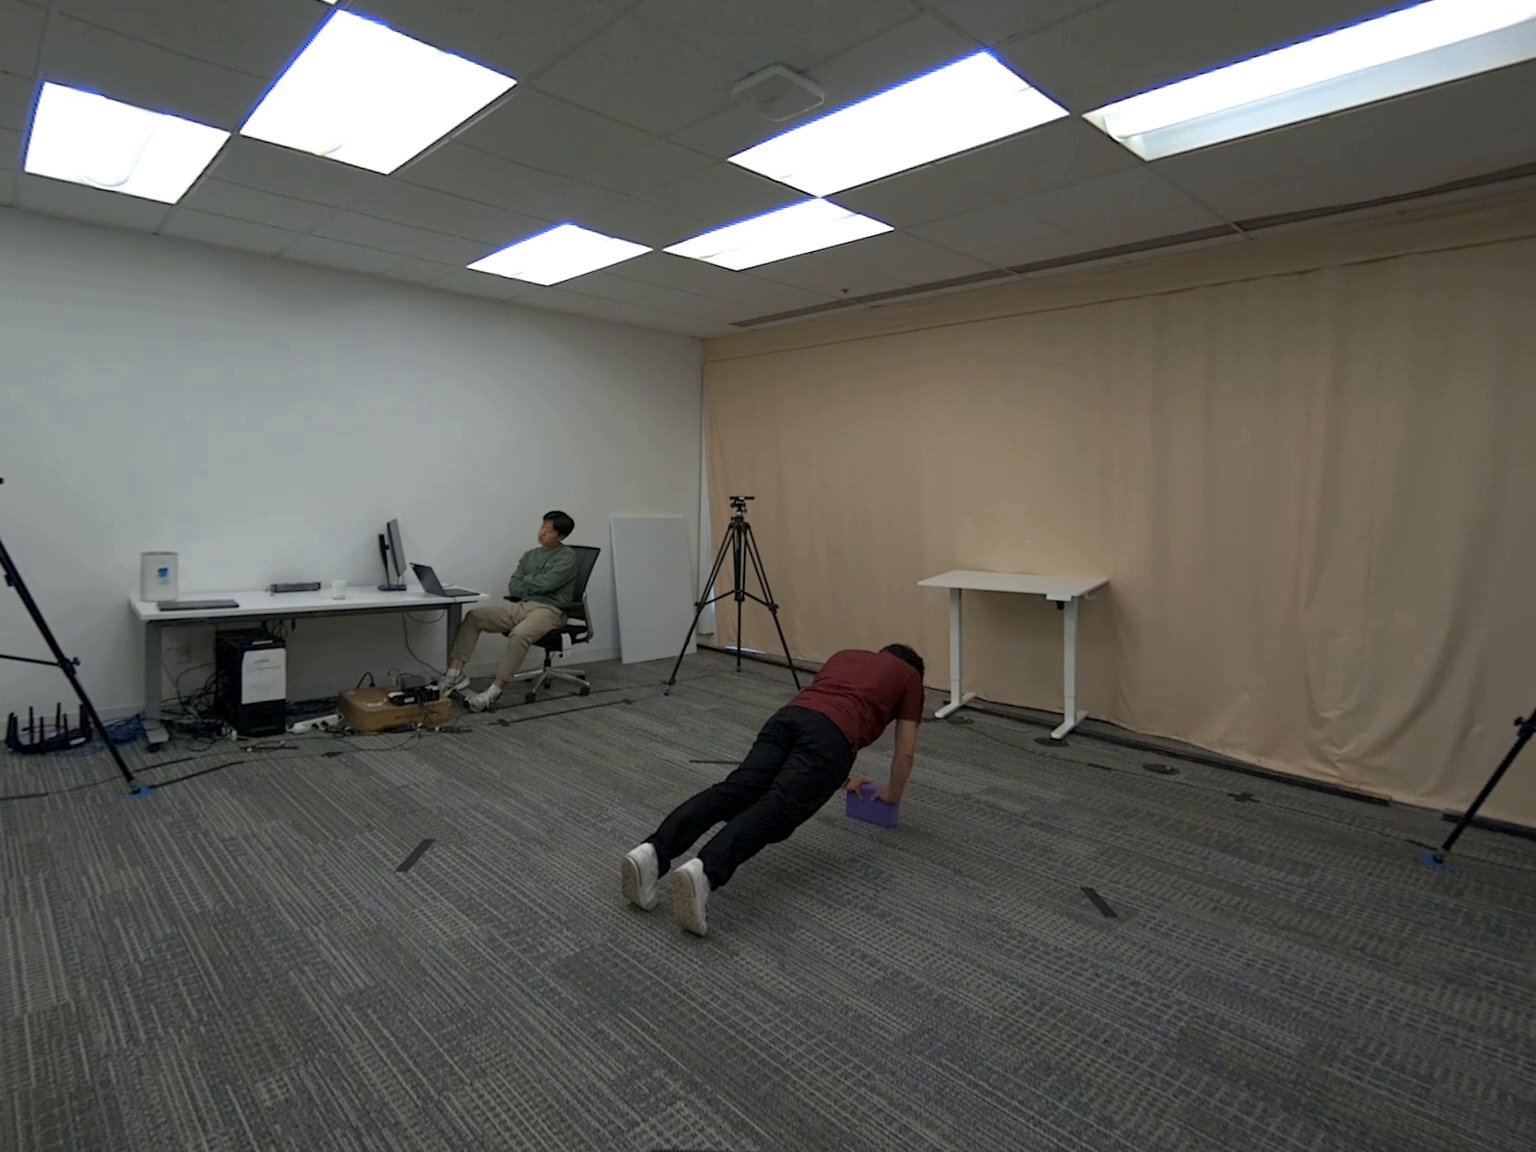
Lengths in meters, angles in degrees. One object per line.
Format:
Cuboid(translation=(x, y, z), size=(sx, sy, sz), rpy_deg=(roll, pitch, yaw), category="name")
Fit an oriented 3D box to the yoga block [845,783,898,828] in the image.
Cuboid(translation=(0.443, 0.998, 3.693), size=(0.235, 0.149, 0.074), rpy_deg=(5, 2, 39), category="yoga block")
